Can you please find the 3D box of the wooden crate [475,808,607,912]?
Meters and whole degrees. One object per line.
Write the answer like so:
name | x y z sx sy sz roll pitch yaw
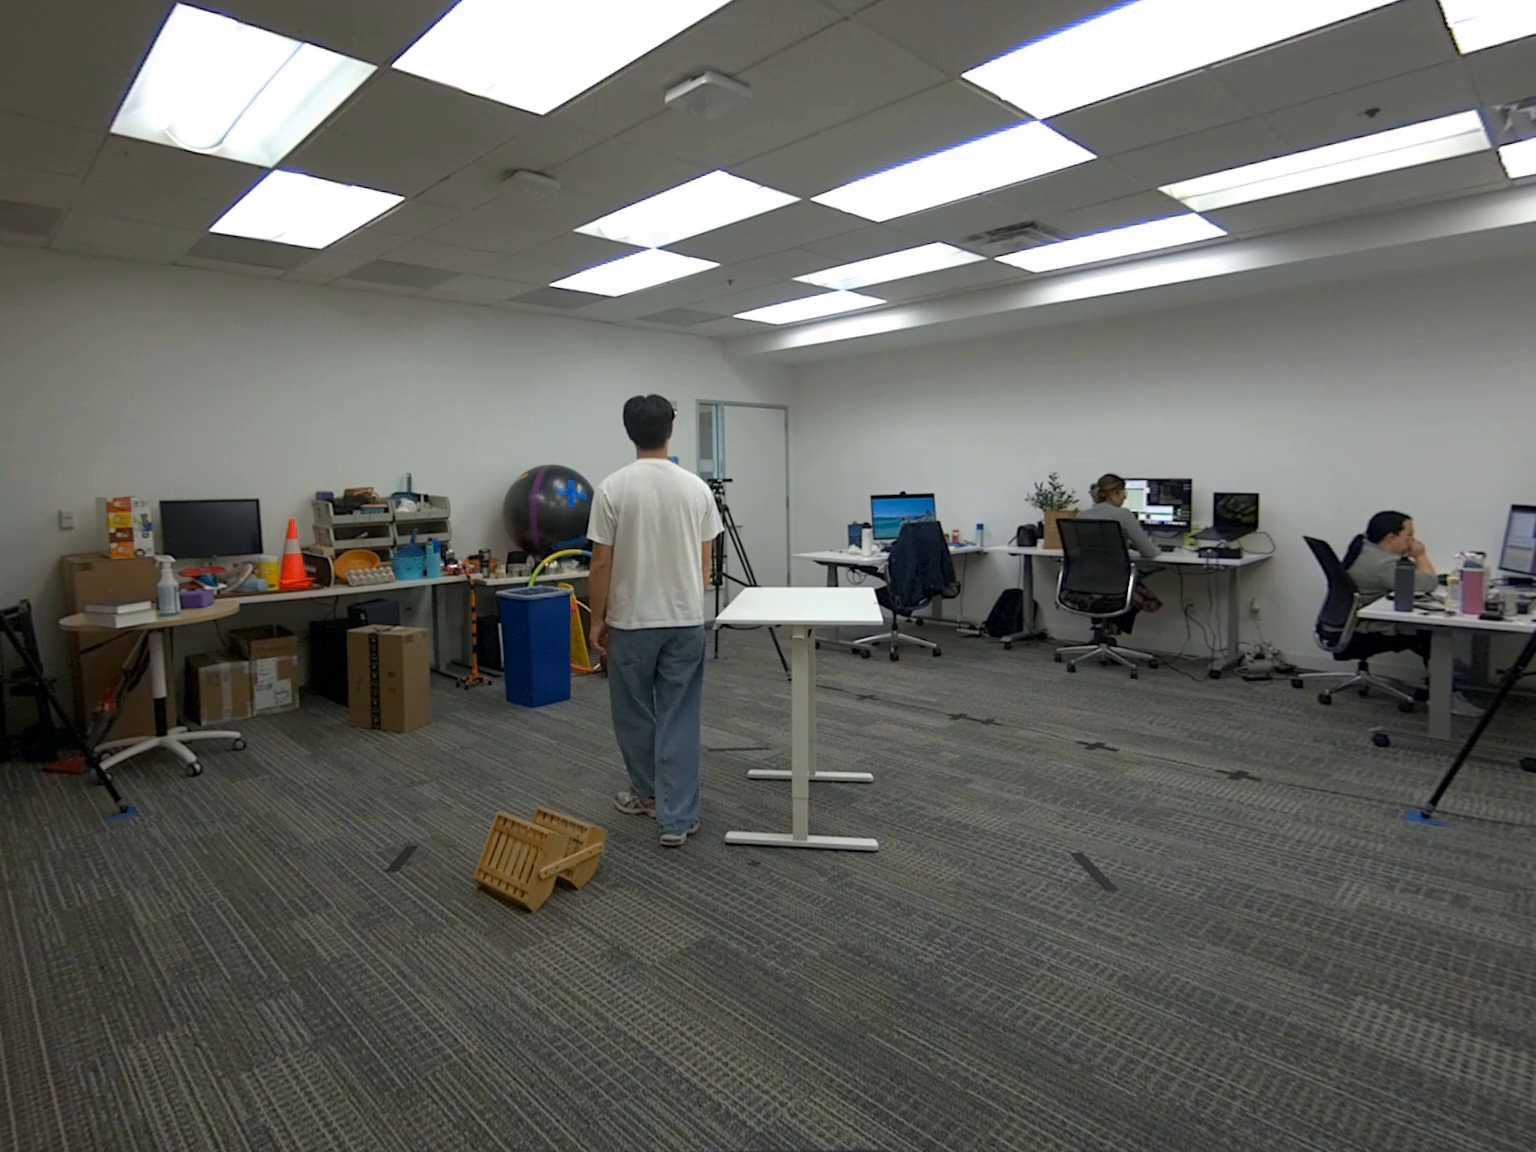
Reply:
wooden crate | -0.791 0.985 2.990 0.334 0.305 0.263 3 -21 39
